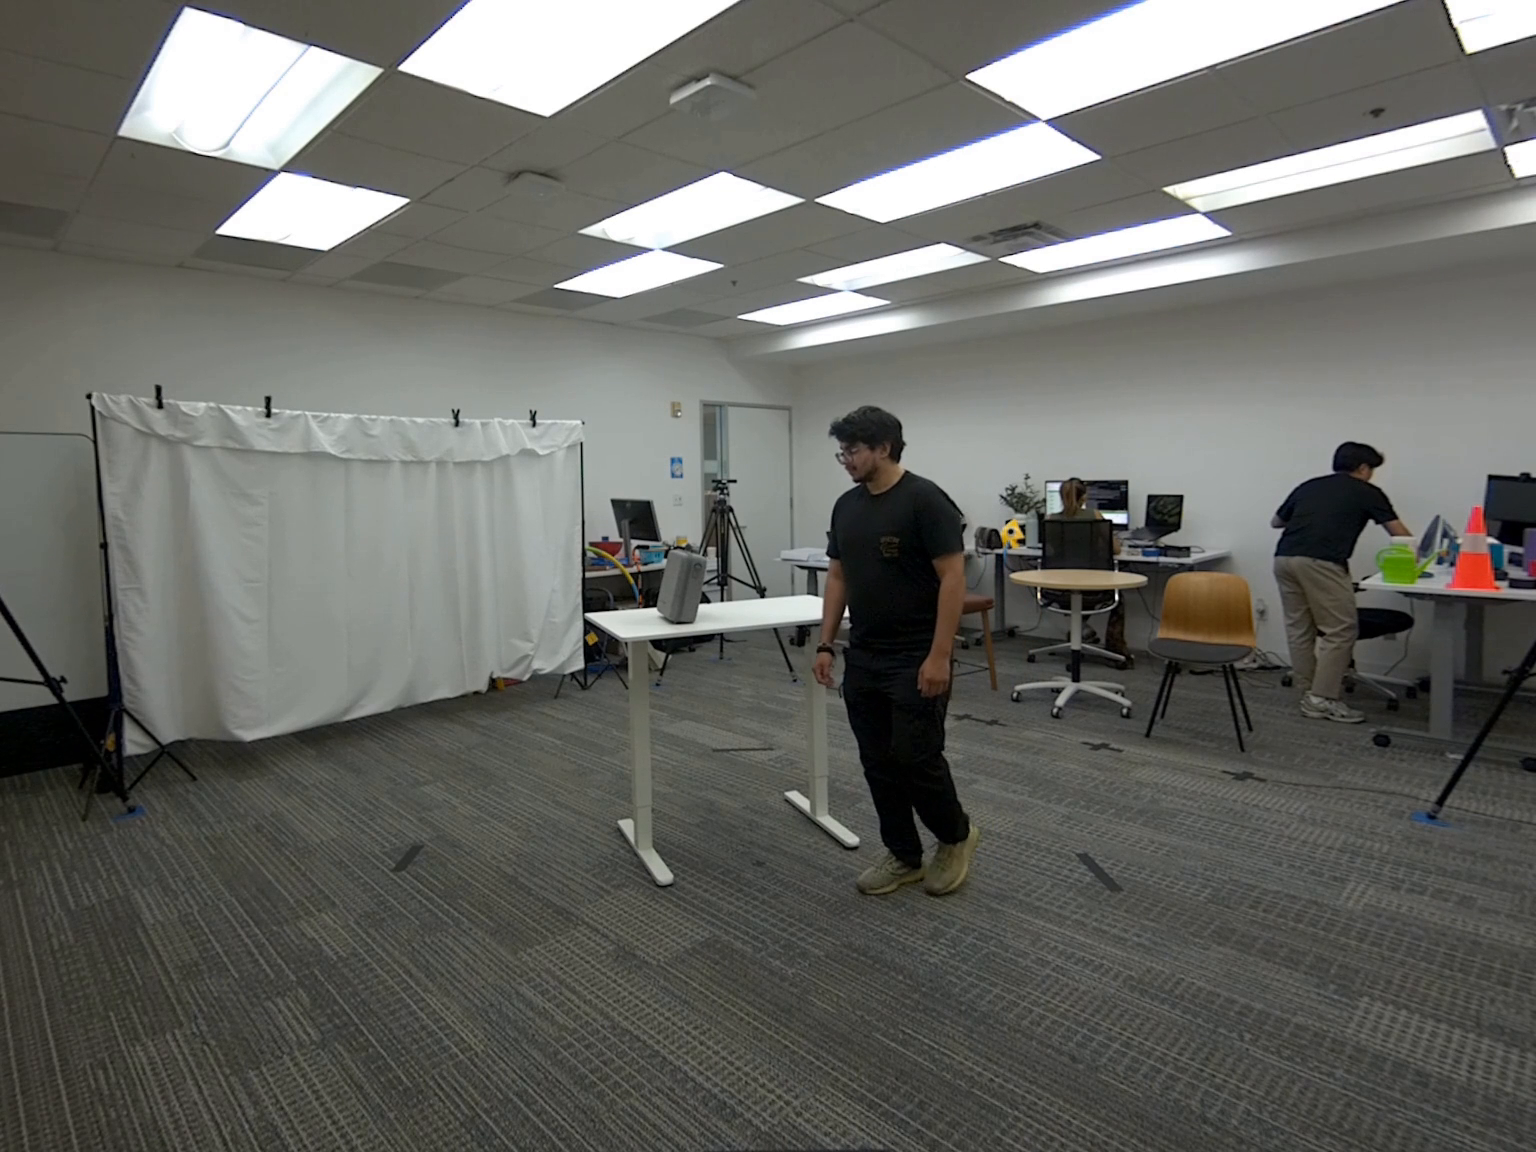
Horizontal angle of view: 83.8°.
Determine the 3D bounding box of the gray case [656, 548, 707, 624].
[{"bbox_3d":[-0.317,0.035,3.178,0.102,0.260,0.262,6,1,-20],"label":"gray case"}]
